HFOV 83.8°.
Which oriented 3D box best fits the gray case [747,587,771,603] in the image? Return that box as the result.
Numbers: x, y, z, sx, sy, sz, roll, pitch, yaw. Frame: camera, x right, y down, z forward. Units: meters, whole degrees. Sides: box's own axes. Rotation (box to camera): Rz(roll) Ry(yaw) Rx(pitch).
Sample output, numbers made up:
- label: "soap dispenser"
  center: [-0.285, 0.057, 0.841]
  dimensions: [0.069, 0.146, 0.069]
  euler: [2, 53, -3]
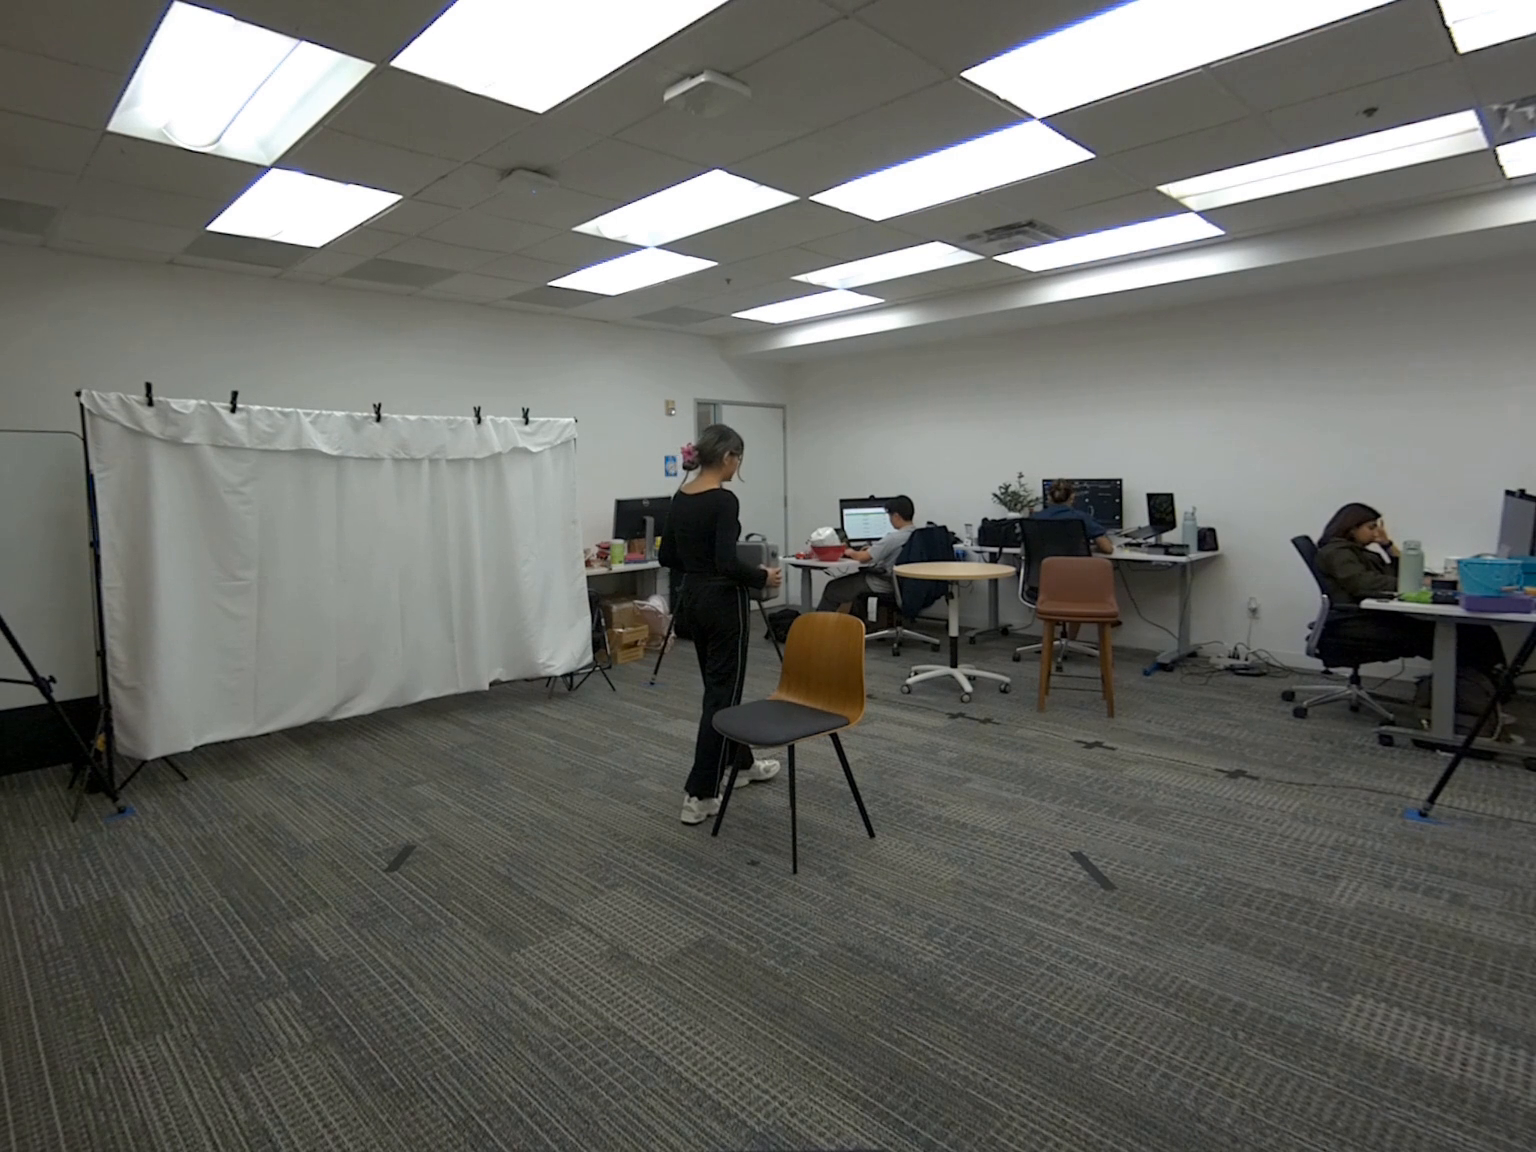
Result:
- label: "gray case"
  center: [-0.067, -0.028, 3.755]
  dimensions: [0.101, 0.261, 0.264]
  euler: [3, -1, -36]
